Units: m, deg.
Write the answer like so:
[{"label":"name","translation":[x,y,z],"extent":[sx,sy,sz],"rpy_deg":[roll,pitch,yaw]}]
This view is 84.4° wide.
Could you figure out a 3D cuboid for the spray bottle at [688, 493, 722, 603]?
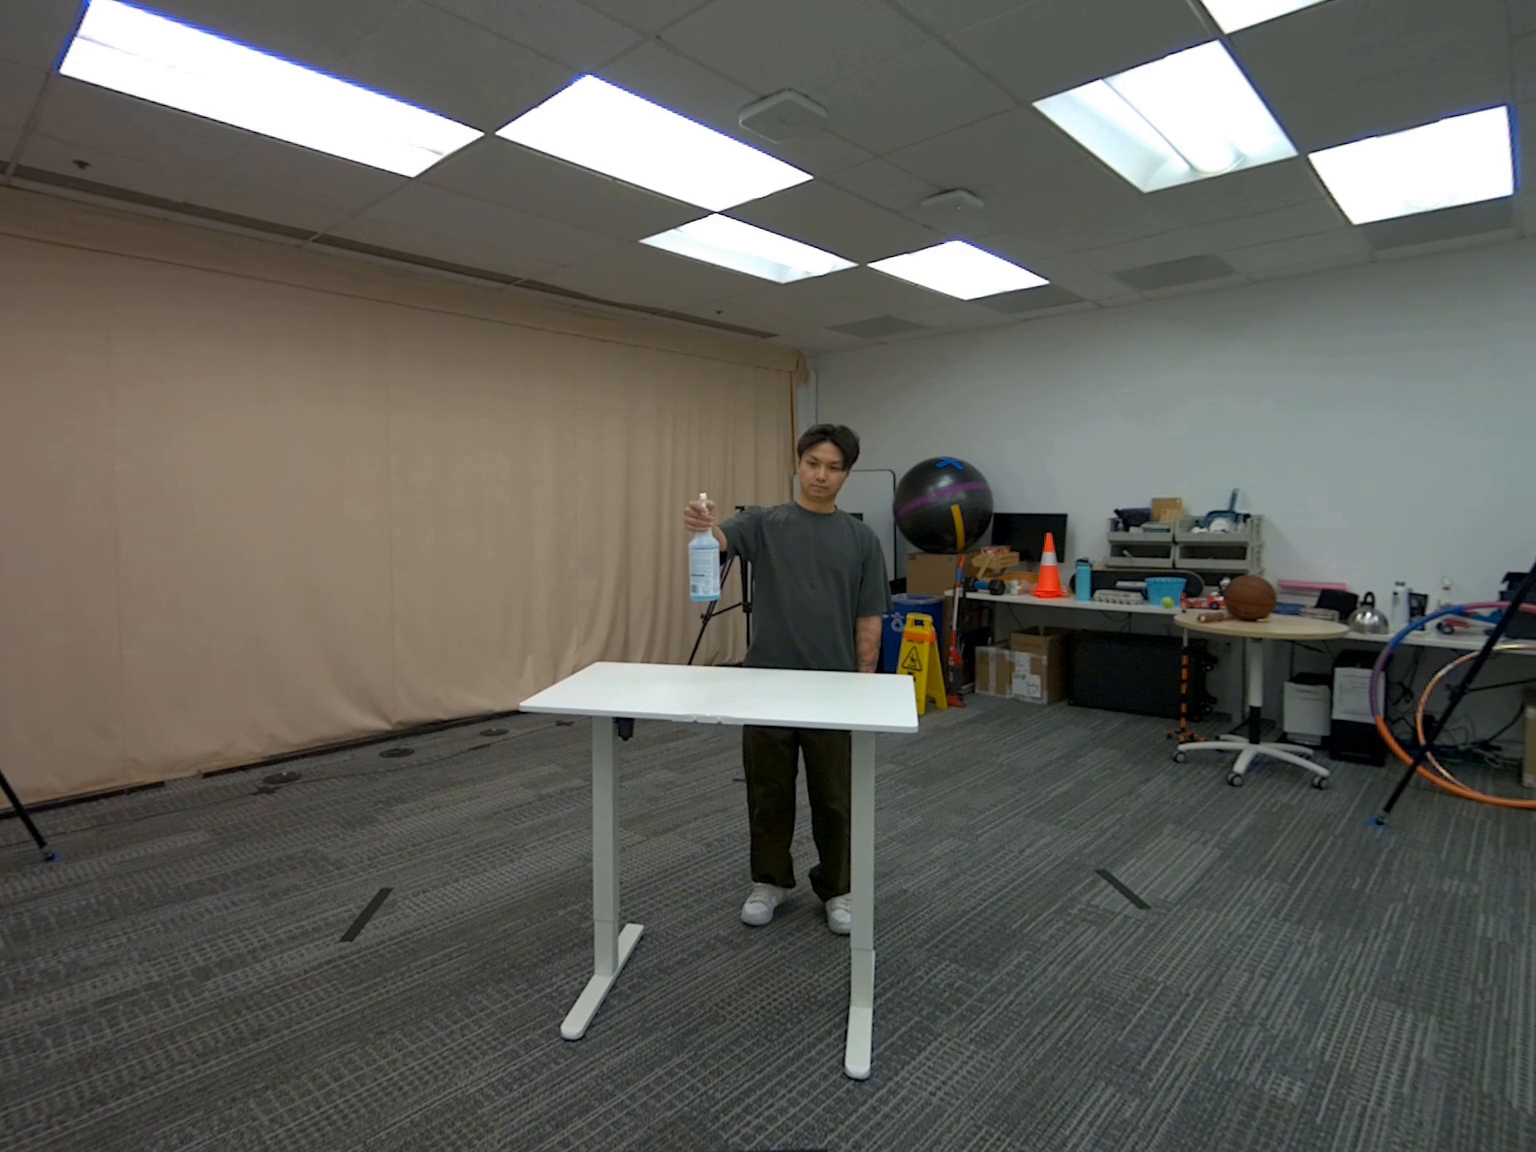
[{"label":"spray bottle","translation":[-0.179,-0.078,2.346],"extent":[0.089,0.296,0.088],"rpy_deg":[2,5,22]}]
